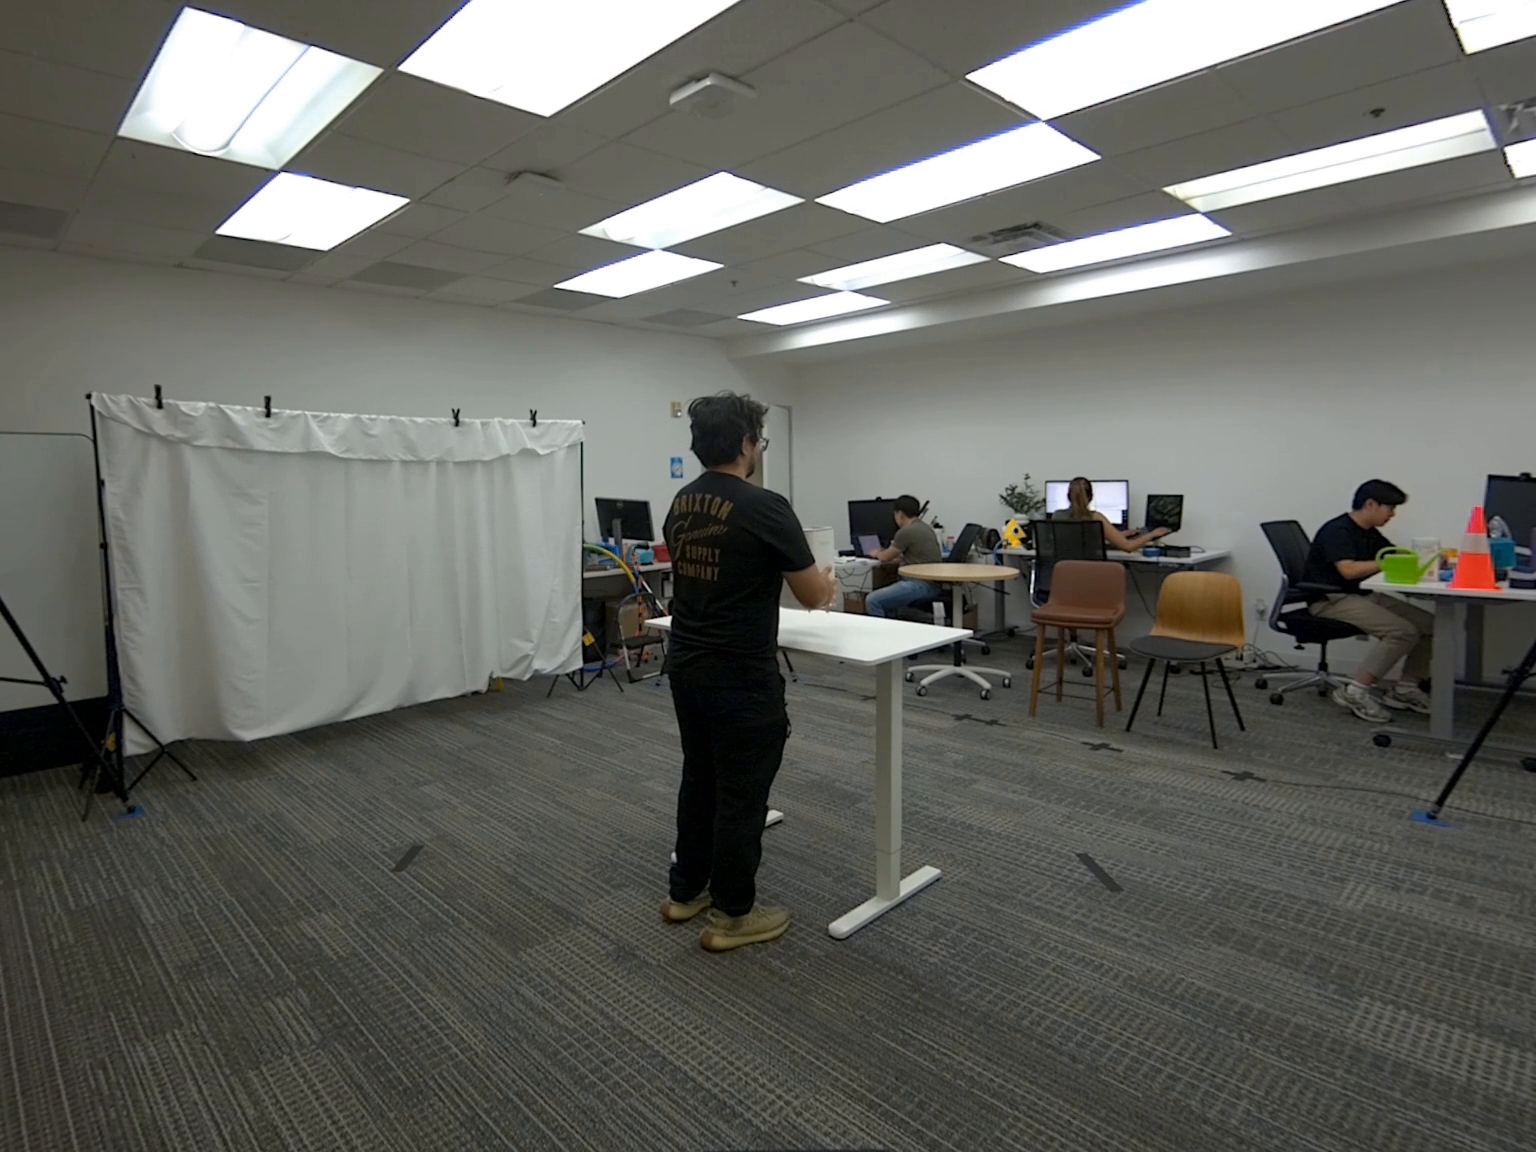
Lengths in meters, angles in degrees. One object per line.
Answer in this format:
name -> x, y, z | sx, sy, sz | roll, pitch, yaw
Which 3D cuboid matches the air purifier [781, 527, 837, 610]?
air purifier -> 0.132, -0.030, 2.838 | 0.177, 0.264, 0.167 | 2, 8, 39
